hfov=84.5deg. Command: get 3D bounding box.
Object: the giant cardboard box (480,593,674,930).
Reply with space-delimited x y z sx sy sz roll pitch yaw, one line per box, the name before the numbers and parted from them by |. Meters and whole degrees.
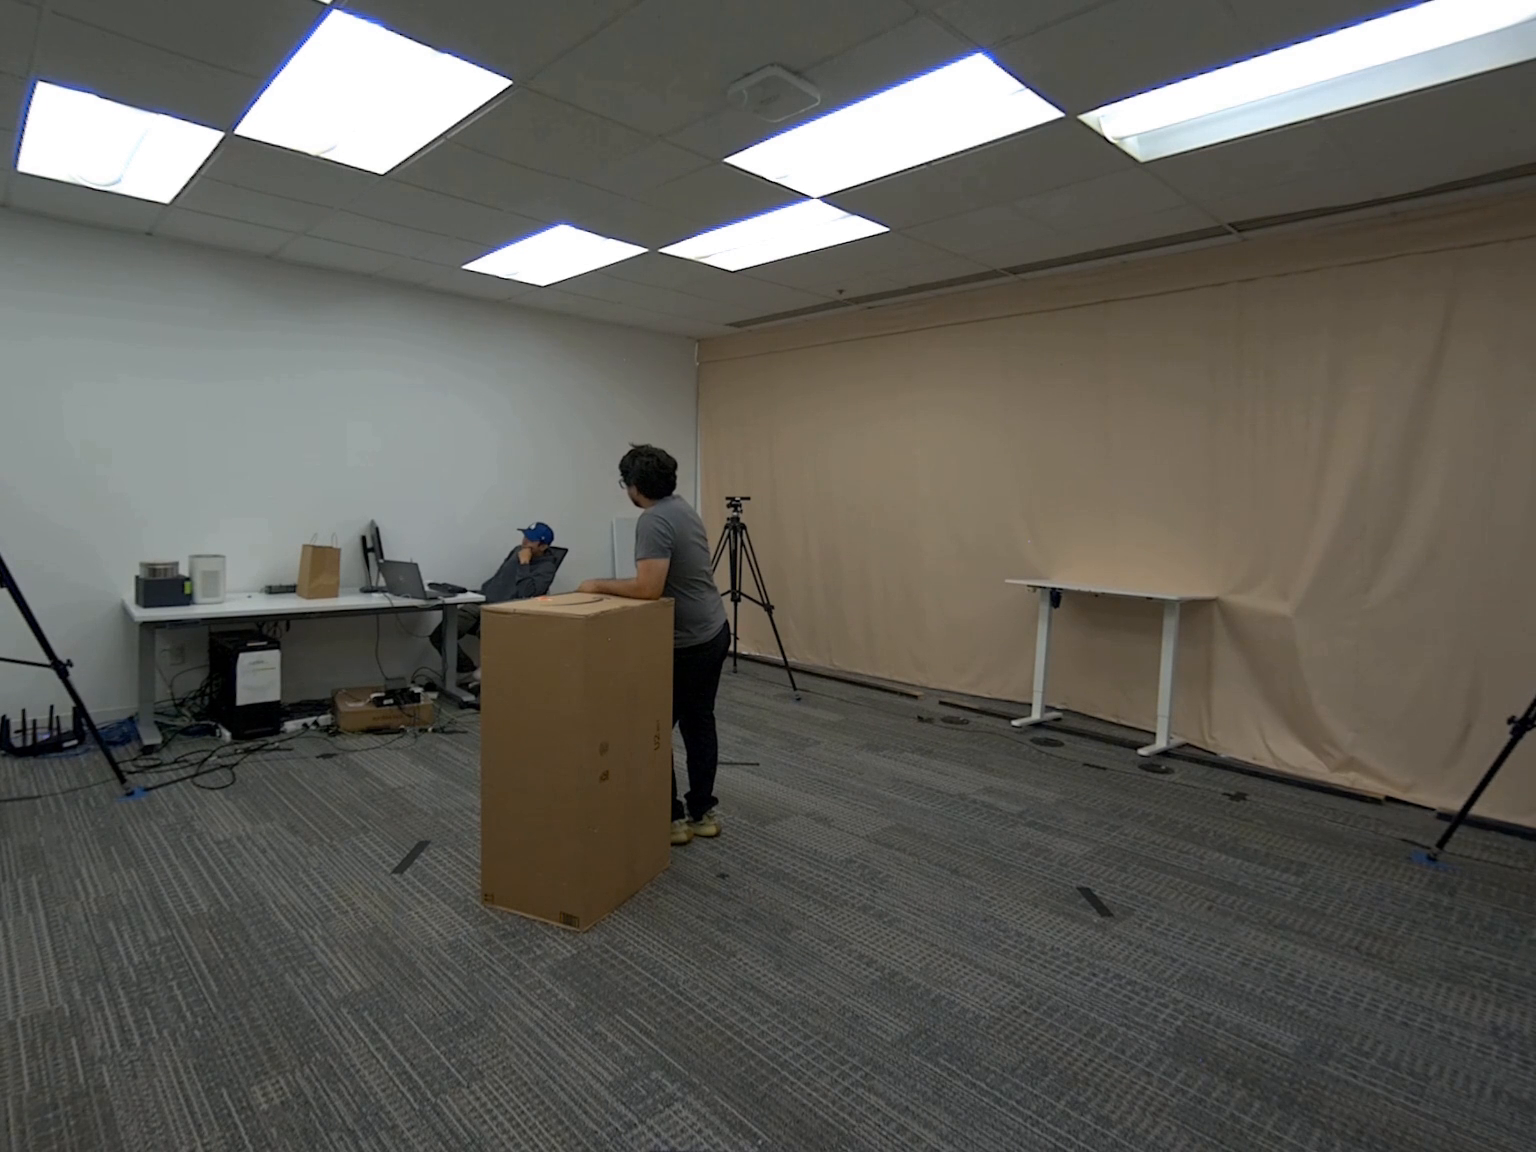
giant cardboard box | -0.677 0.599 2.986 0.434 1.023 0.568 3 4 25
